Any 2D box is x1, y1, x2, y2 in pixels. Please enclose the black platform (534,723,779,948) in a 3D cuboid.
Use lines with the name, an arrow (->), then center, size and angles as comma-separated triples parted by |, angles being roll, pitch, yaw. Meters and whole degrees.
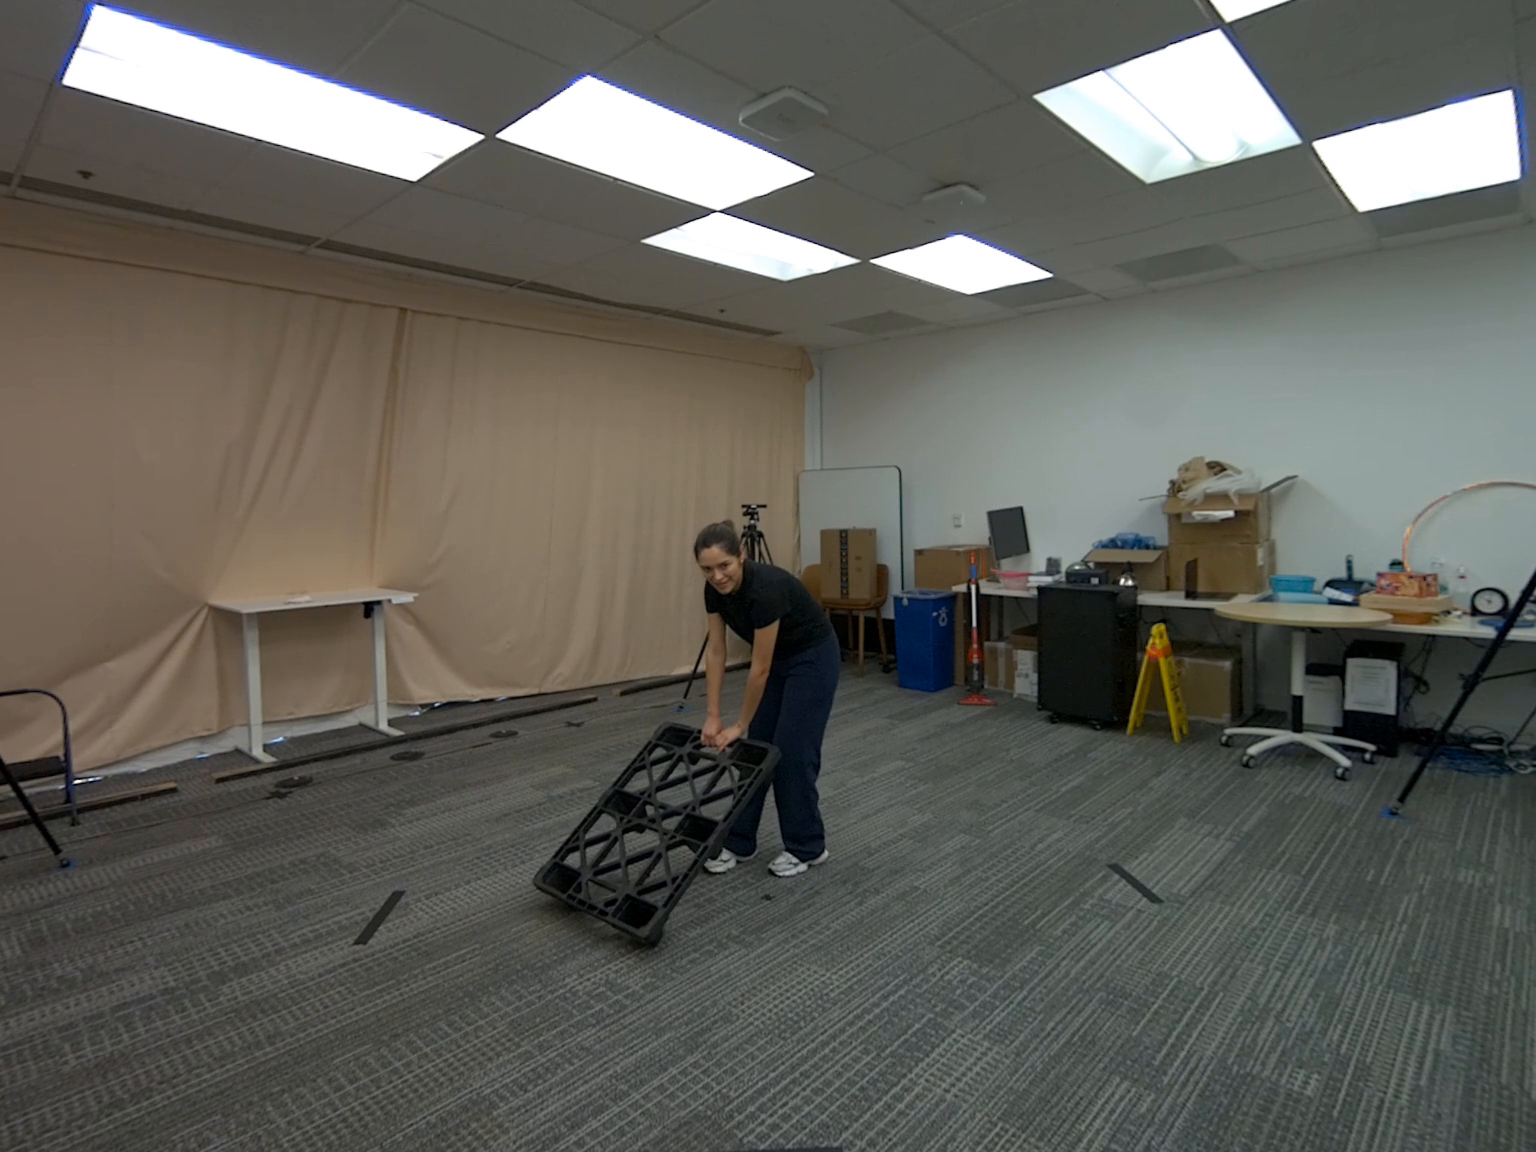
black platform -> -0.352, 0.889, 3.002 | 0.625, 0.140, 0.800 | 3, 41, 40
